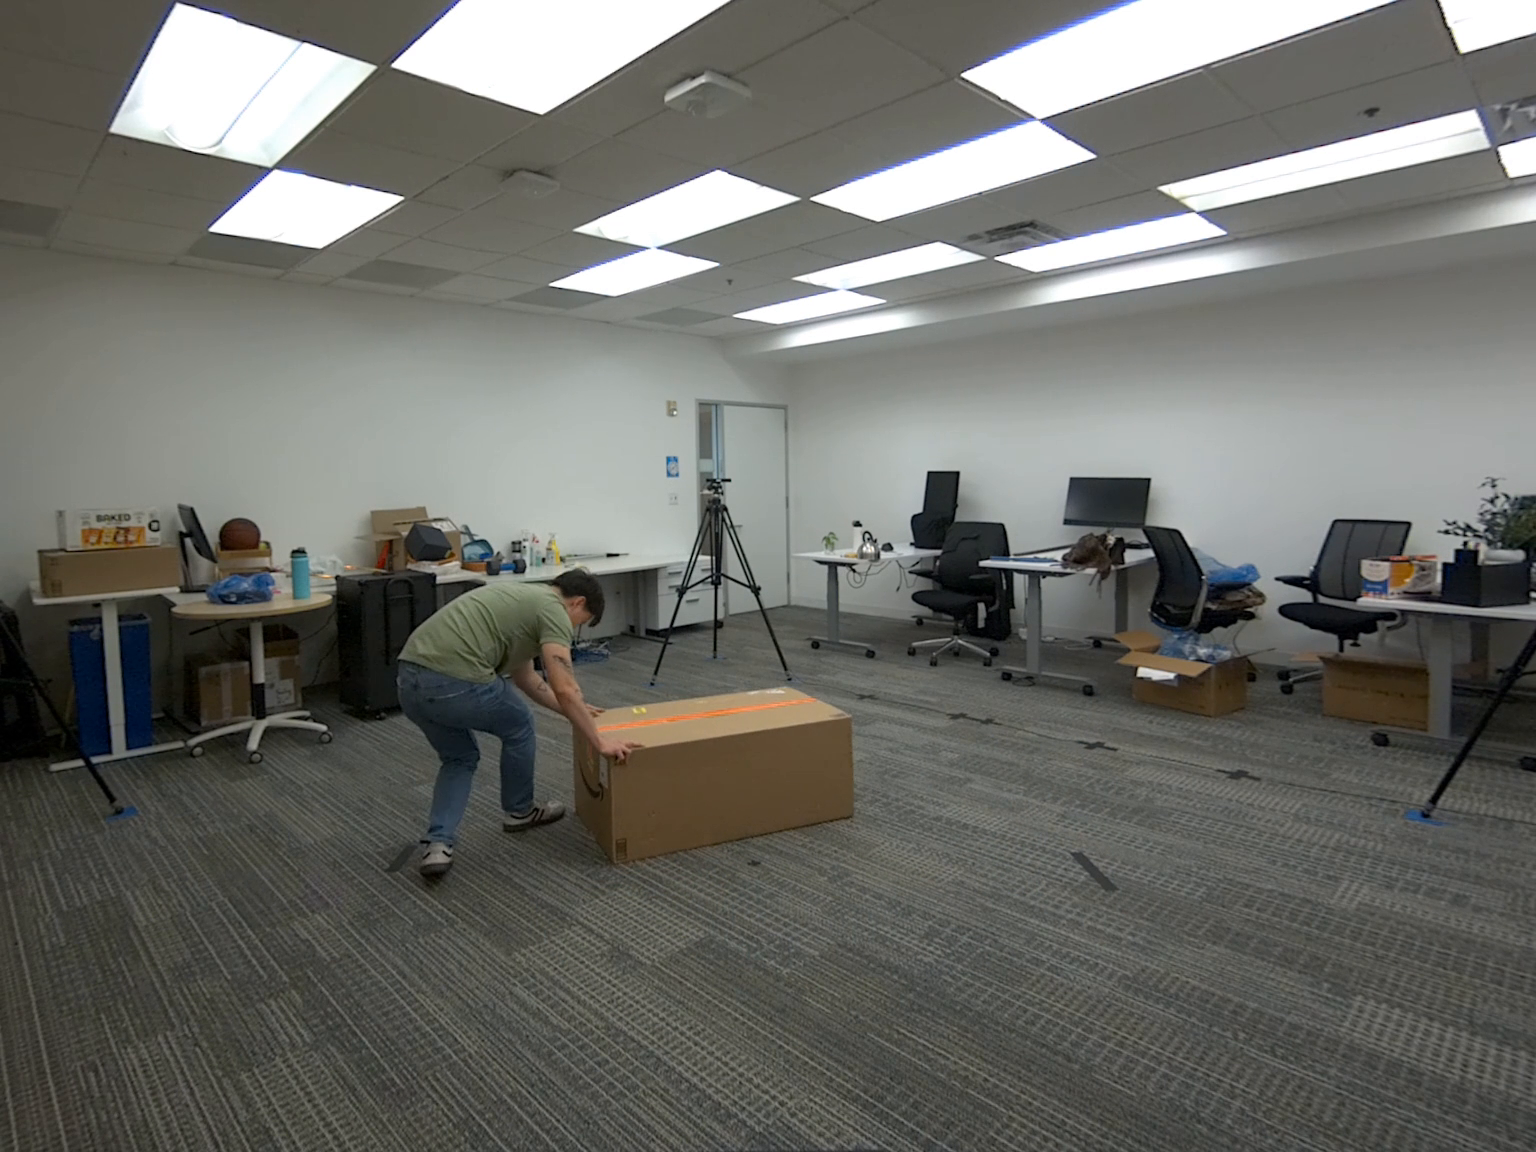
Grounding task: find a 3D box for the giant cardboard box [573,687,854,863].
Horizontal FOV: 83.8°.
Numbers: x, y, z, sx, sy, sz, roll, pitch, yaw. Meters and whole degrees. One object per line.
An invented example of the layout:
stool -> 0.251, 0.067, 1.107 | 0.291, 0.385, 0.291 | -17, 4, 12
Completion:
giant cardboard box -> -0.239, 0.782, 3.554 | 1.005, 0.424, 0.592 | -4, 6, -25
